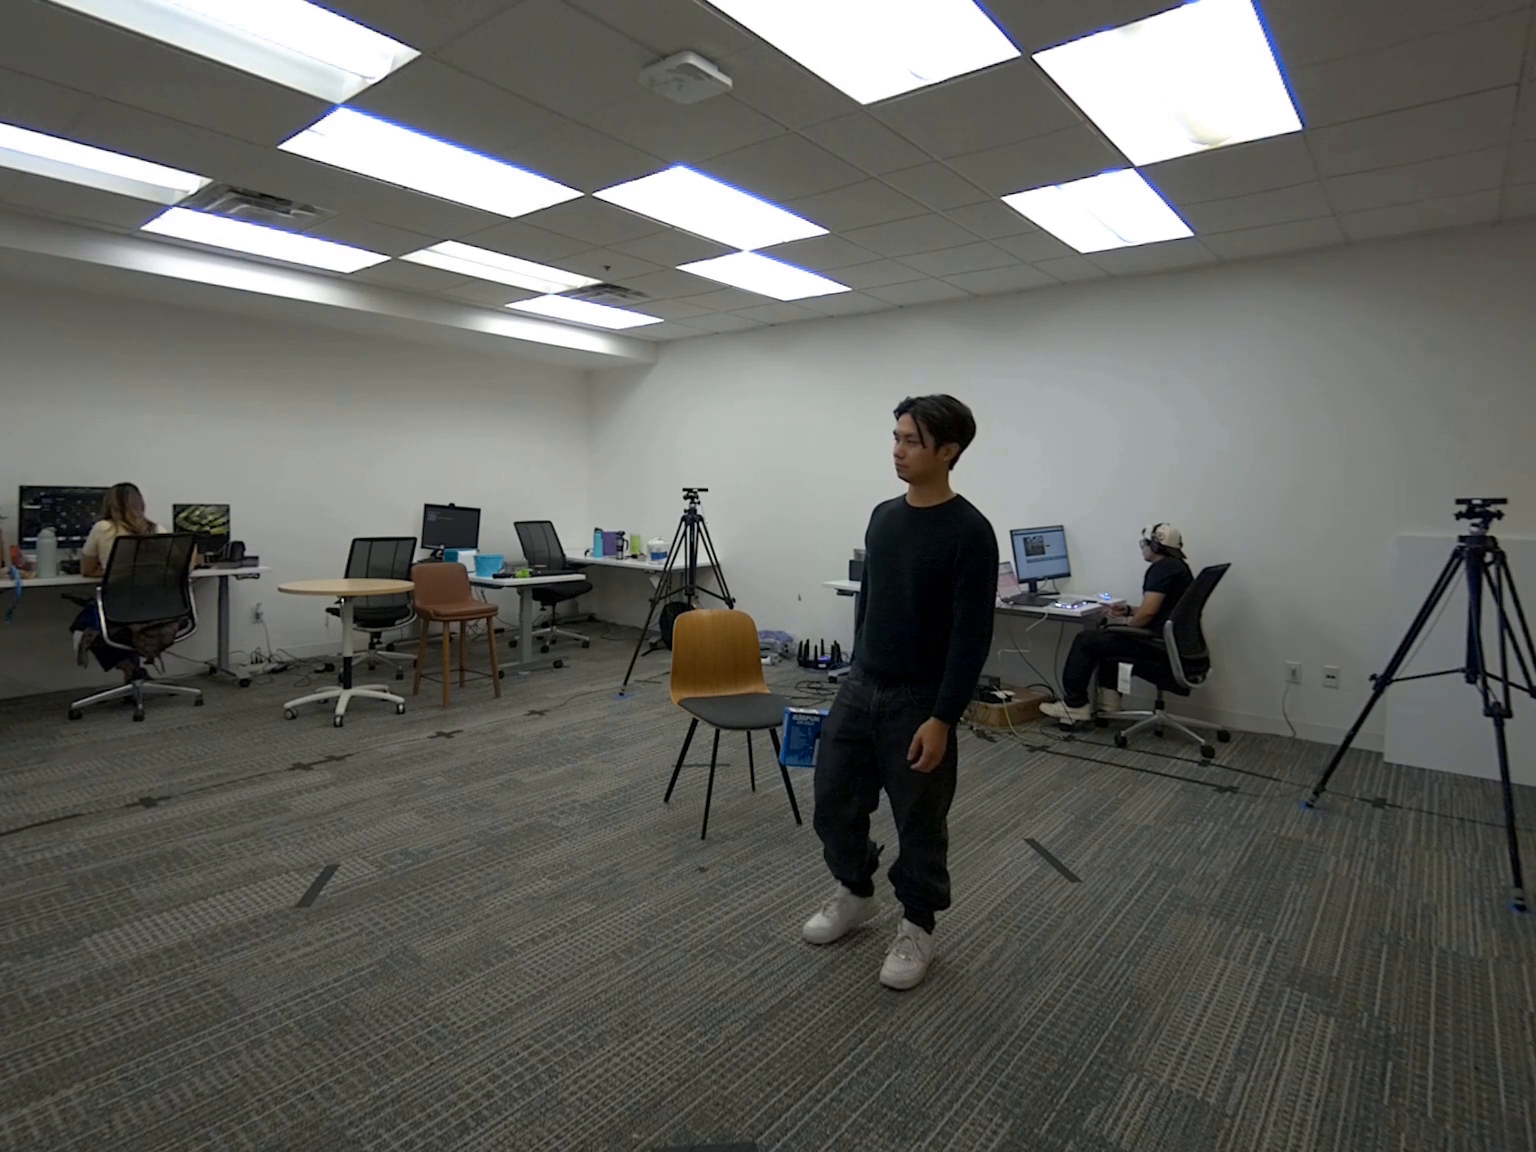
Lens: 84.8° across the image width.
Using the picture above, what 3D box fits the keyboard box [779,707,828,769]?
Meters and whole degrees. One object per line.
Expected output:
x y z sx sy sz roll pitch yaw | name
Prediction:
0.260 0.524 2.721 0.431 0.176 0.060 6 1 -11 | keyboard box
